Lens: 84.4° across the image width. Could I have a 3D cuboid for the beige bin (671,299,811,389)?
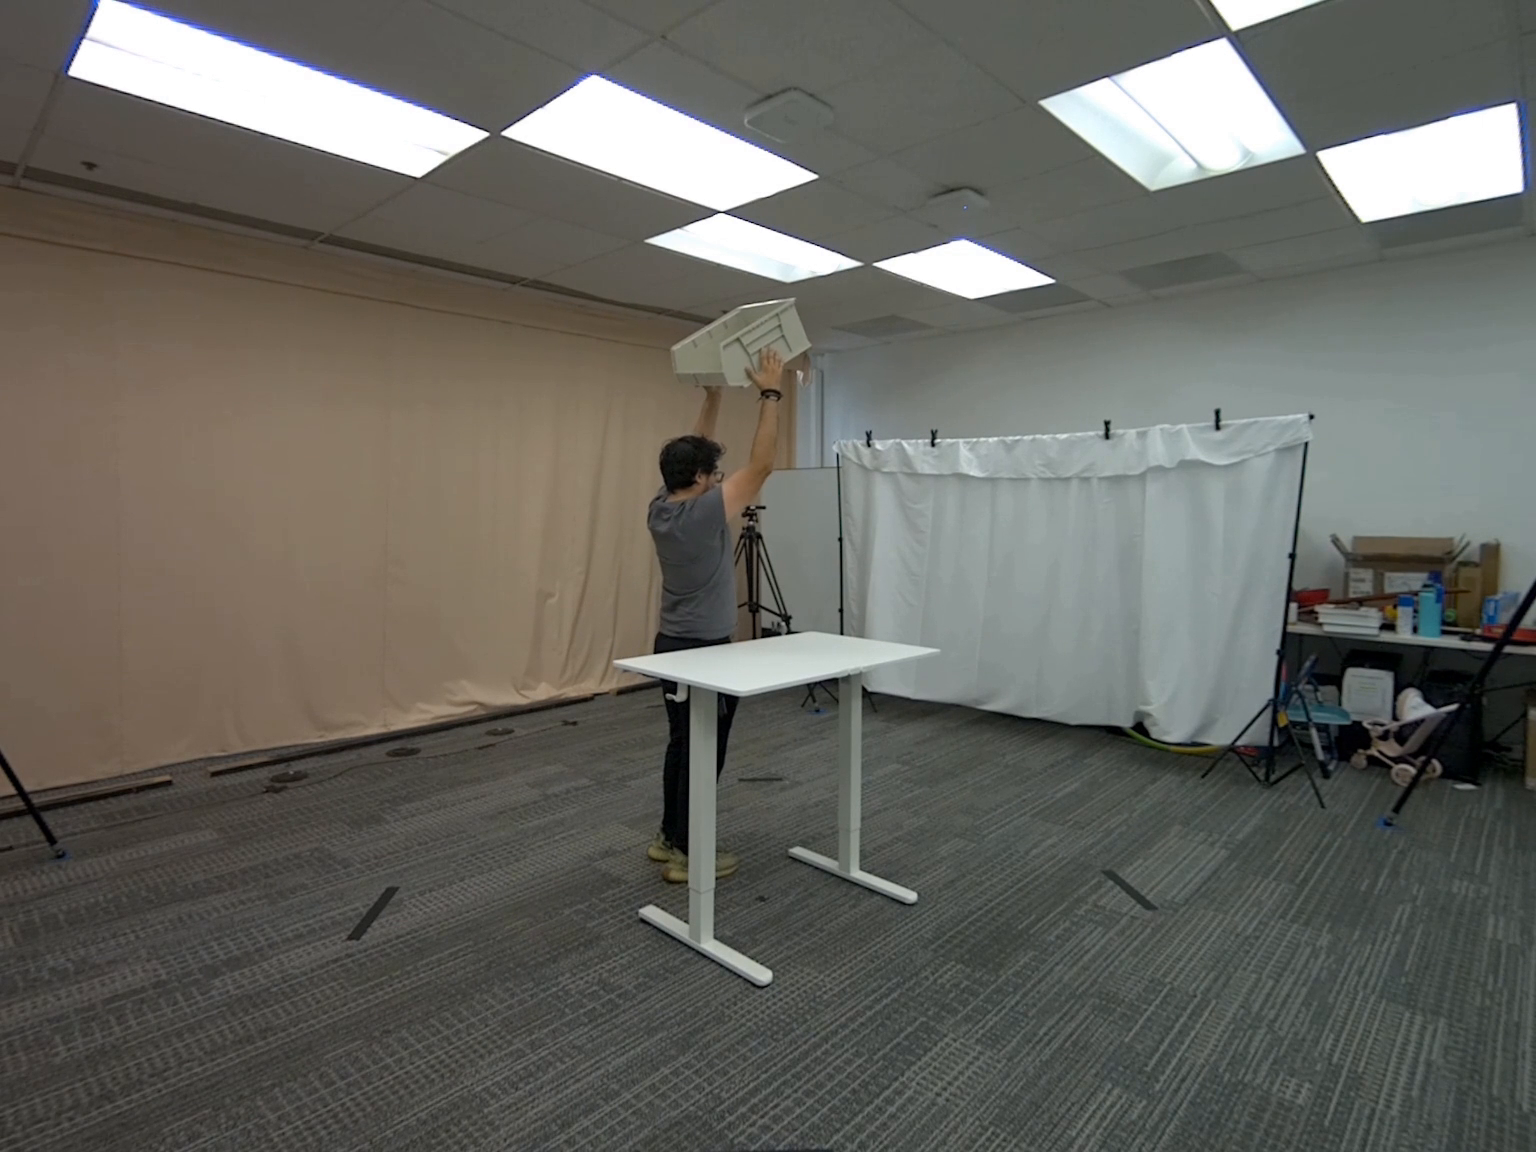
[{"bbox_3d":[-0.109,-0.841,3.127,0.374,0.185,0.436,-36,26,-19],"label":"beige bin"}]
